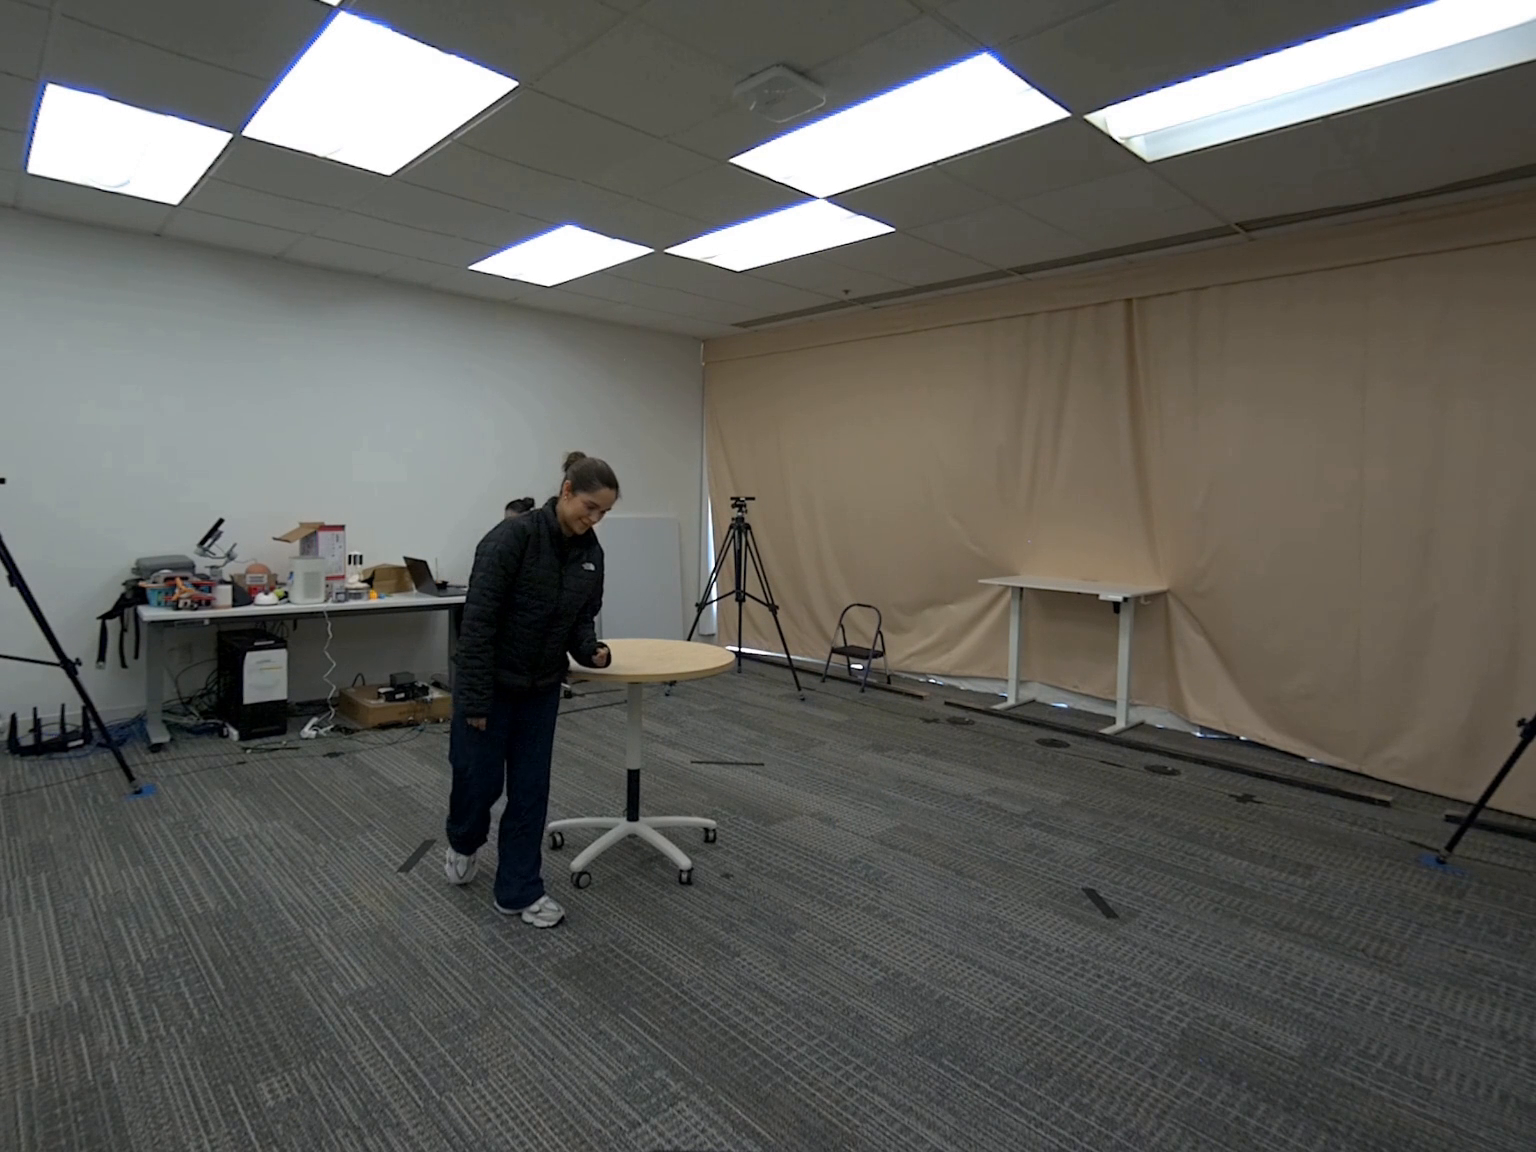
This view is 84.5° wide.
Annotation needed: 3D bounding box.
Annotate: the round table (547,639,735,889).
[{"bbox_3d":[-0.510,0.693,3.214,0.784,0.785,0.787,1,3,-1],"label":"round table"}]
